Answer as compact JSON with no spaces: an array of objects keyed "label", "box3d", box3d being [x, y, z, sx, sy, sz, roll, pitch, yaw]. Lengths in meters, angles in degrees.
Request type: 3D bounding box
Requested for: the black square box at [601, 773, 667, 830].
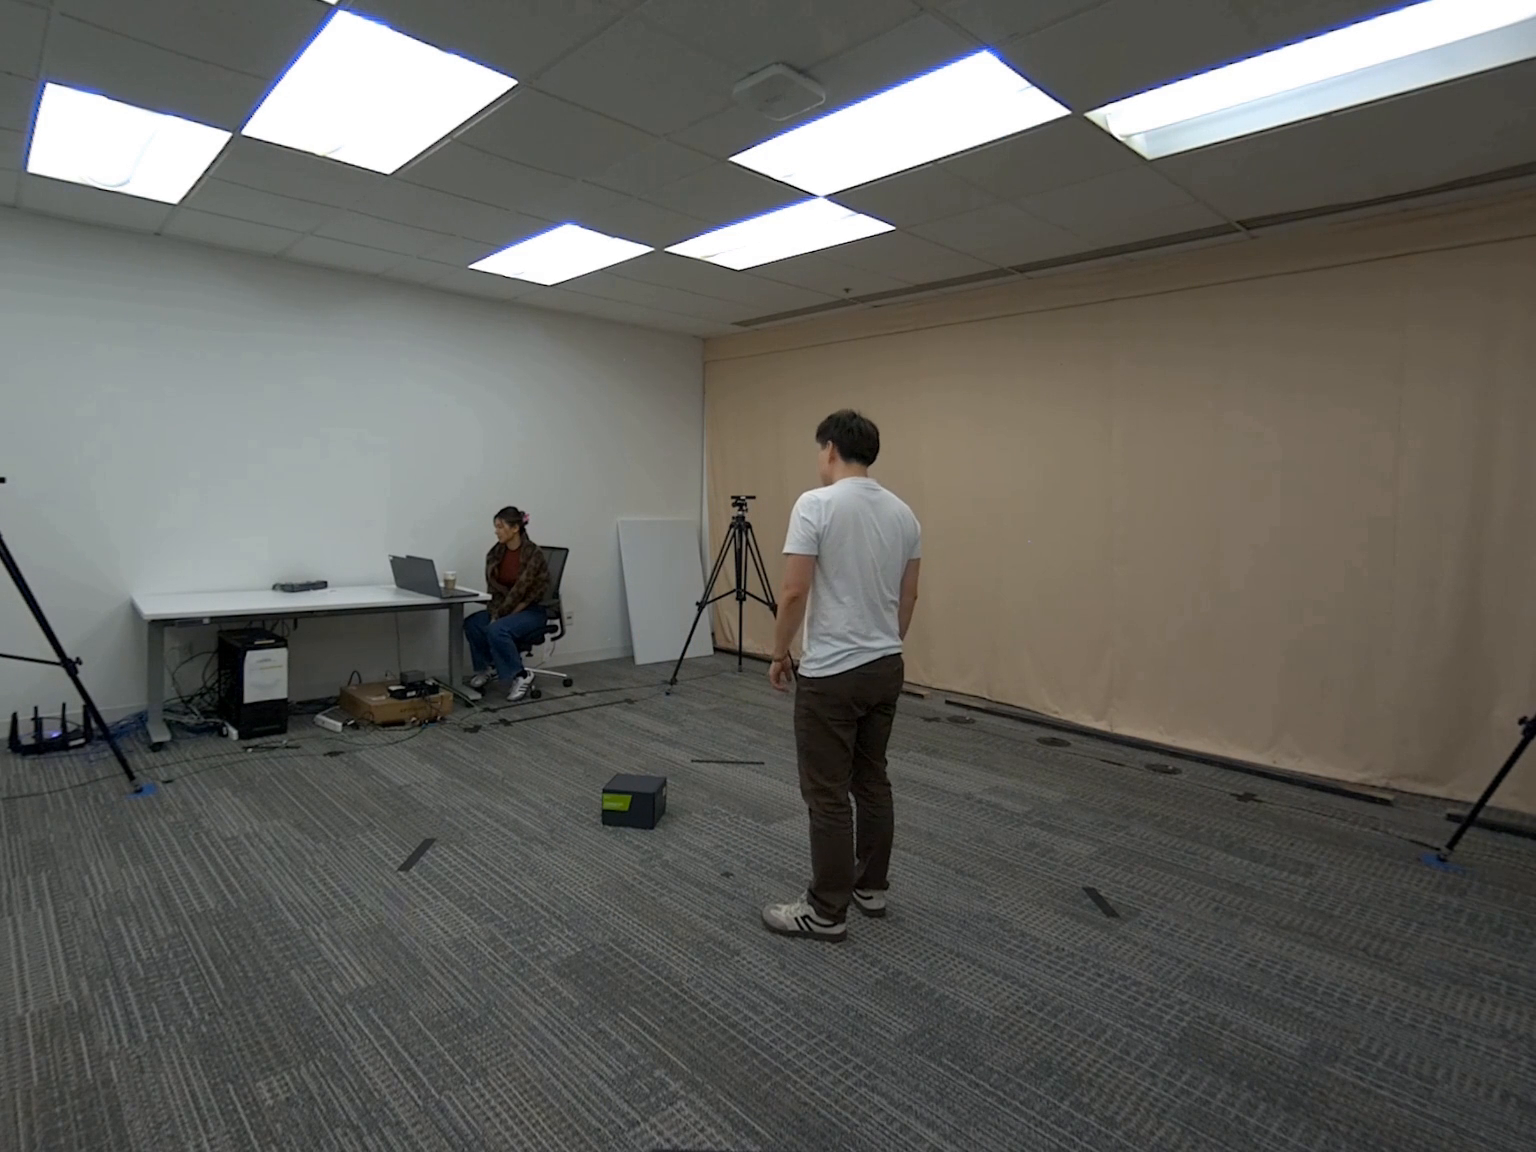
[{"label":"black square box","box3d":[-0.581,0.960,3.623,0.229,0.155,0.216,3,4,8]}]
